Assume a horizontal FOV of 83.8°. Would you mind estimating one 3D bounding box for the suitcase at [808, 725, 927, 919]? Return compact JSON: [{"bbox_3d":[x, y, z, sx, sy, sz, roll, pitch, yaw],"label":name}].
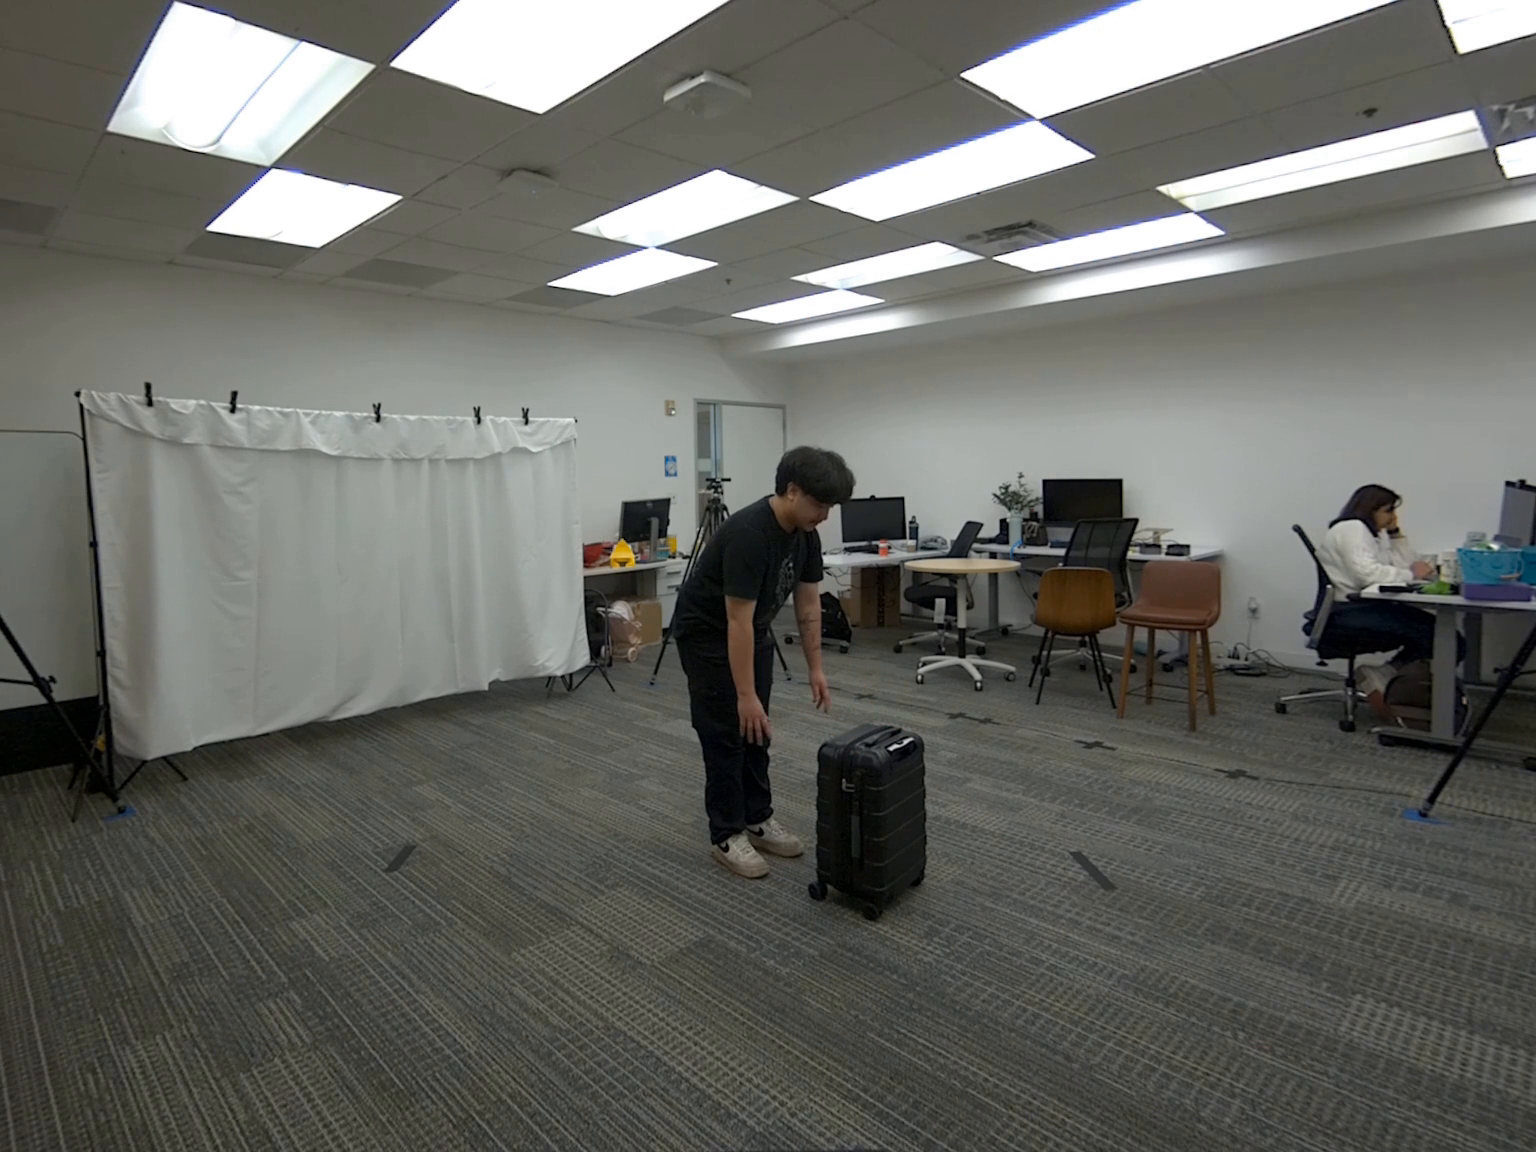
[{"bbox_3d":[0.351,0.792,2.846,0.256,0.547,0.366,3,6,37],"label":"suitcase"}]
